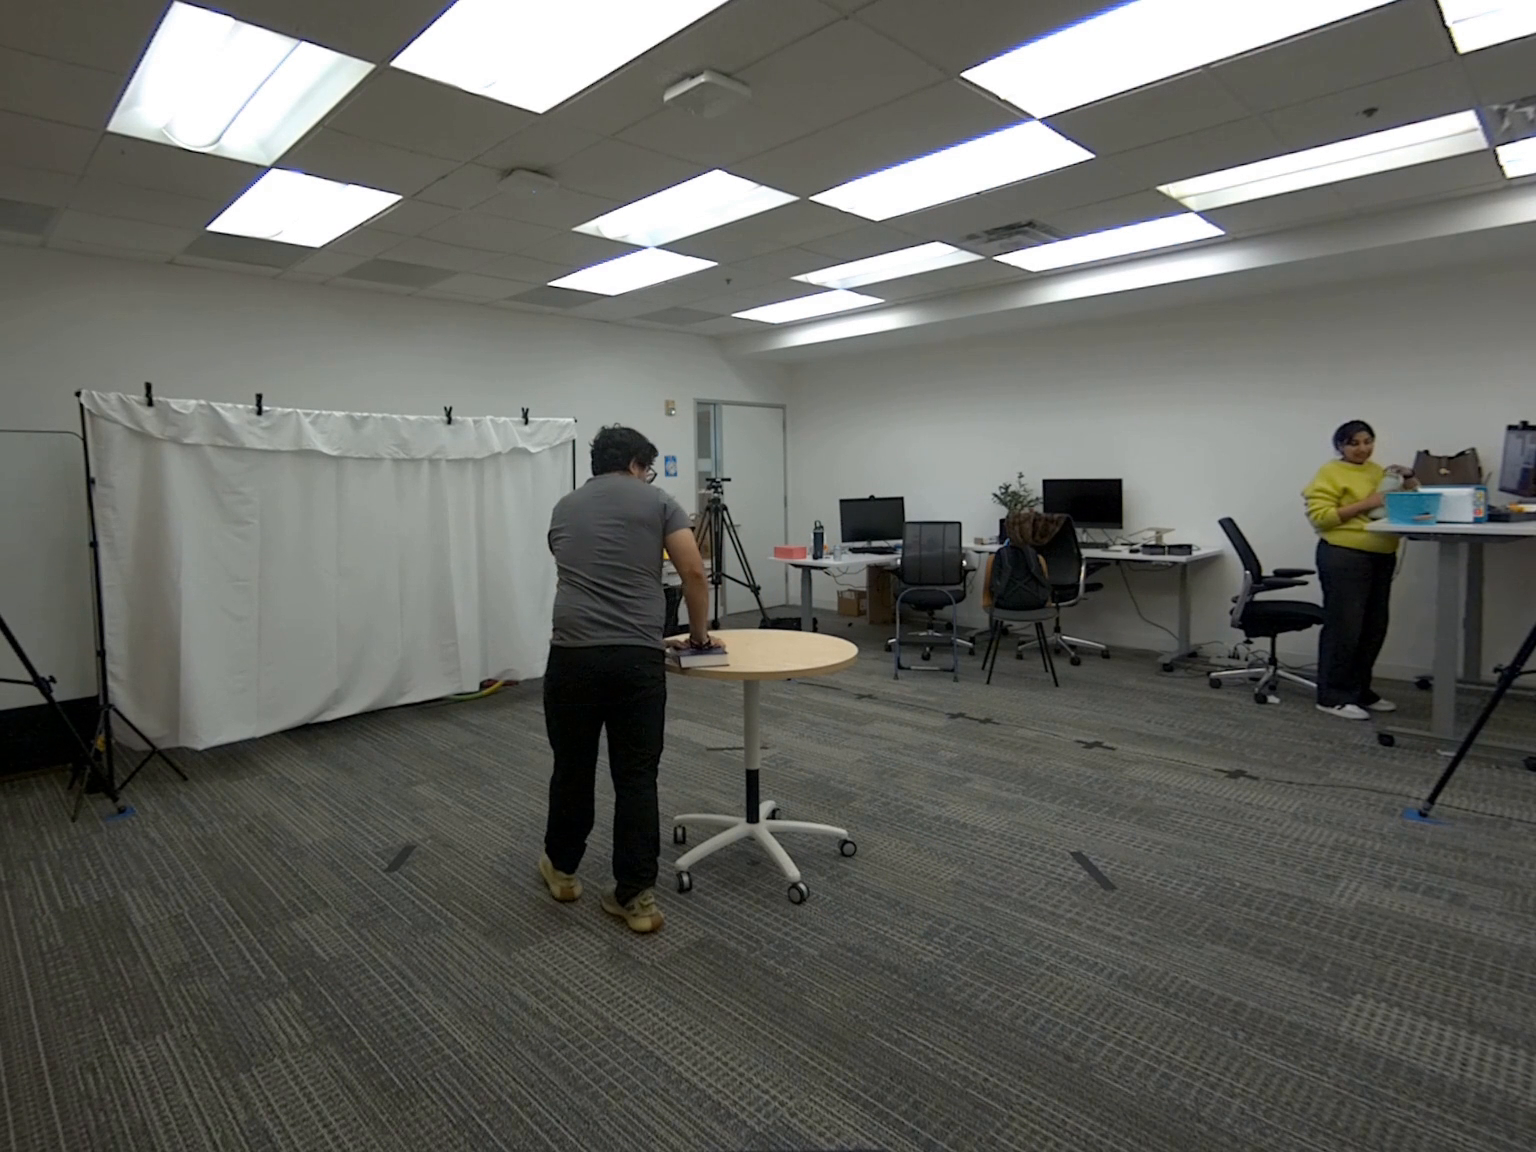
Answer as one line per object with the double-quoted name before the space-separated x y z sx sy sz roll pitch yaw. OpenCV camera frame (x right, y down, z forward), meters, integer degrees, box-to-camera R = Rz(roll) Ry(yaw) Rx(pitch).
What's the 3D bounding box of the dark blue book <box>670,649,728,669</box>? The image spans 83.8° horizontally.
"dark blue book" -0.240 0.265 2.897 0.161 0.045 0.249 -2 6 -13
